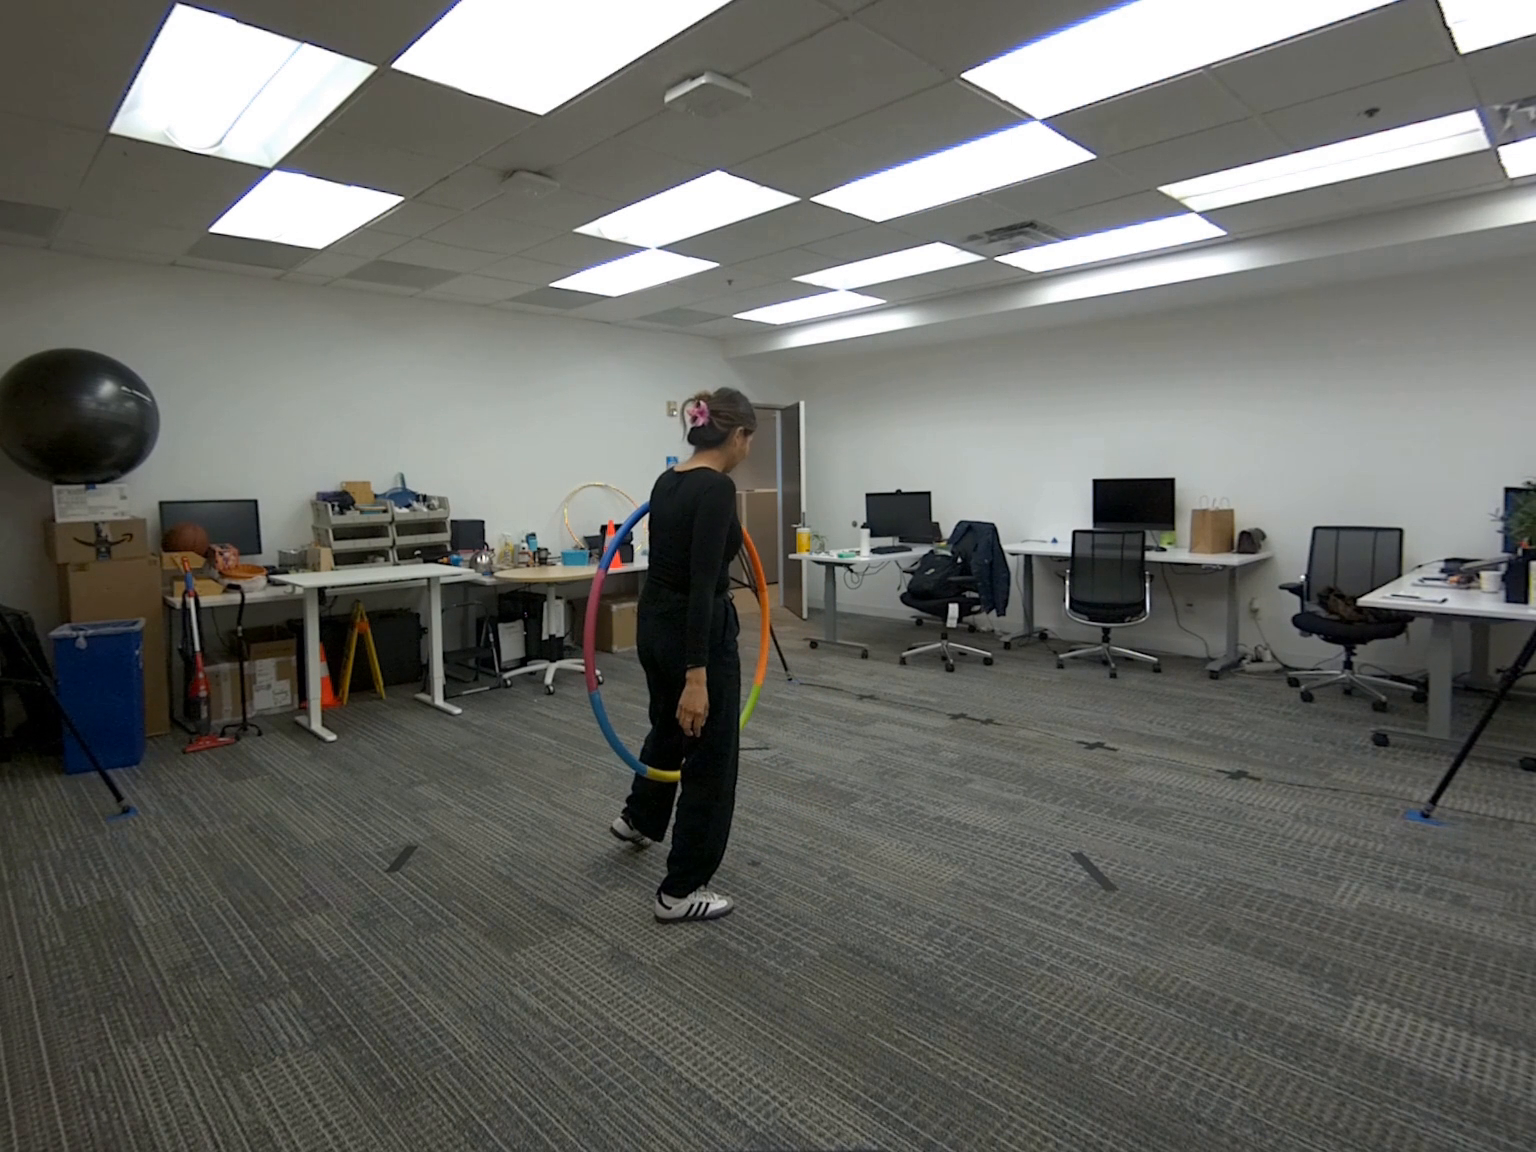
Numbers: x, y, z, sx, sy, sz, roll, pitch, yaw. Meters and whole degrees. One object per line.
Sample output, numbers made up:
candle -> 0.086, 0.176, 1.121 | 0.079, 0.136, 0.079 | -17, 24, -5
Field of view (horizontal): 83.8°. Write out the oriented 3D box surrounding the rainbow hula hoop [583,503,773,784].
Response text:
rainbow hula hoop -> -0.276, 0.196, 2.962 | 0.036, 0.977, 0.955 | -2, 3, 35
